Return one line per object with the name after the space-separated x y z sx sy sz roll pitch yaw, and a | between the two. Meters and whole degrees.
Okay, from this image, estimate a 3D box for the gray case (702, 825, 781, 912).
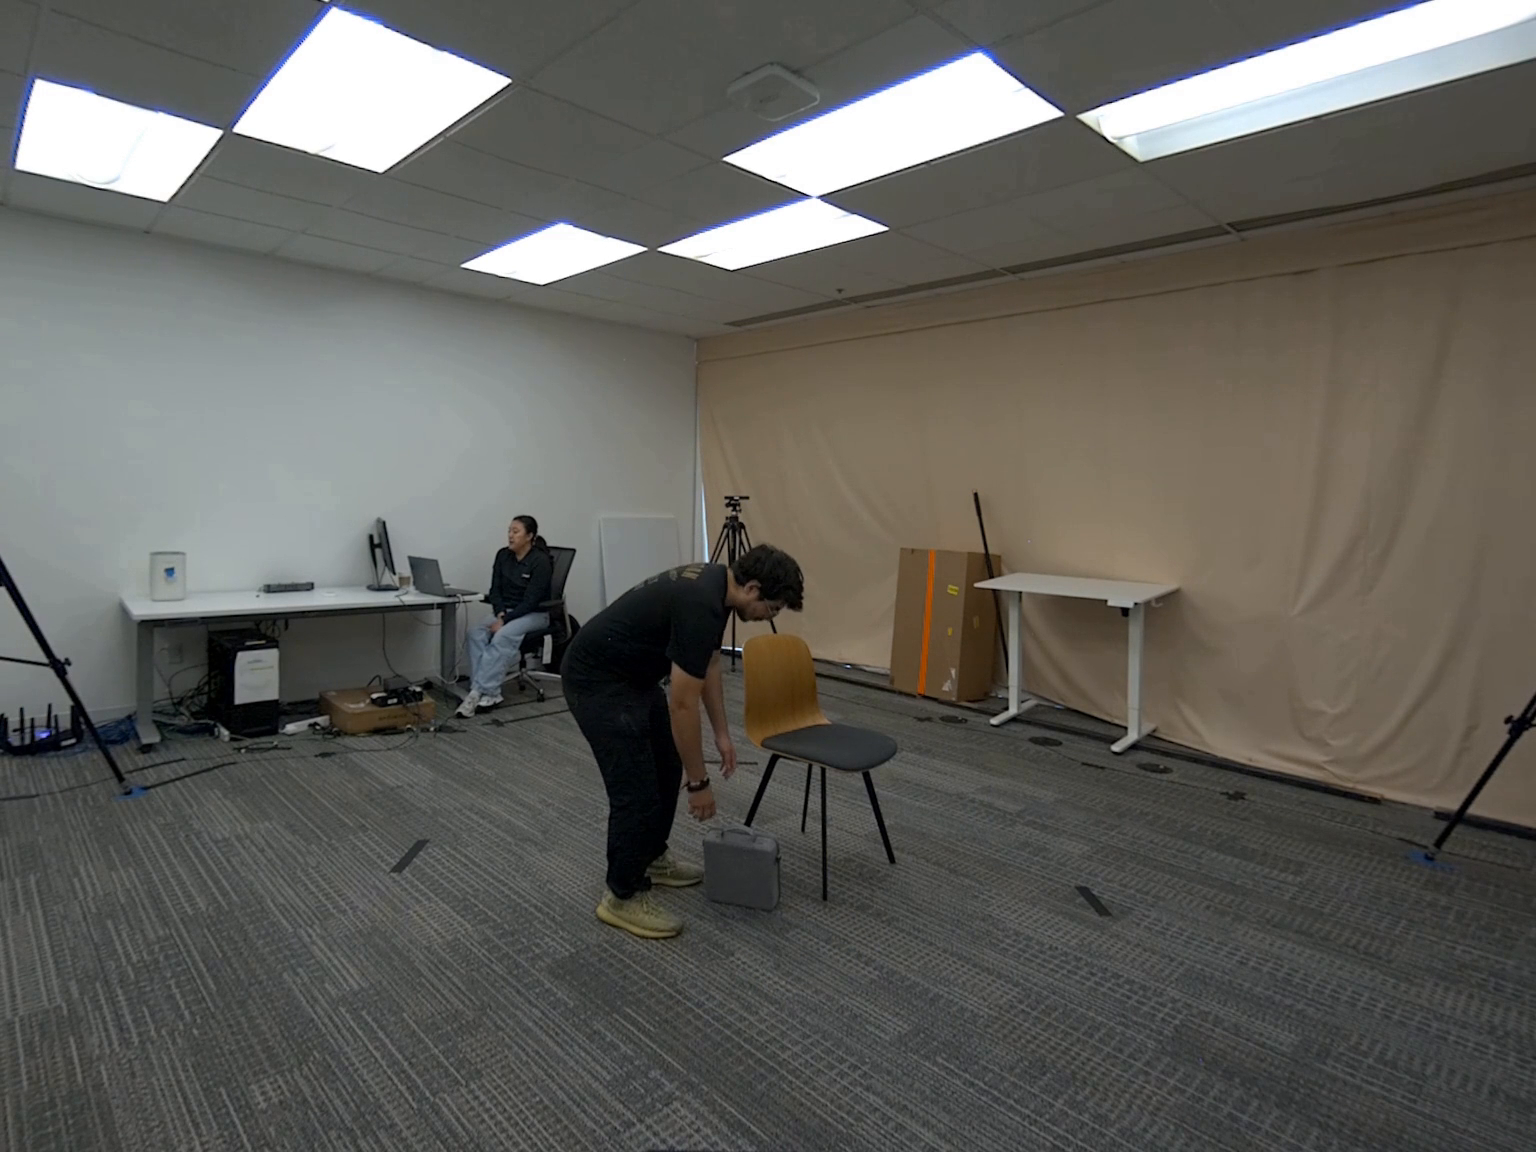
-0.091 0.993 2.879 0.260 0.258 0.104 1 14 17 | gray case
